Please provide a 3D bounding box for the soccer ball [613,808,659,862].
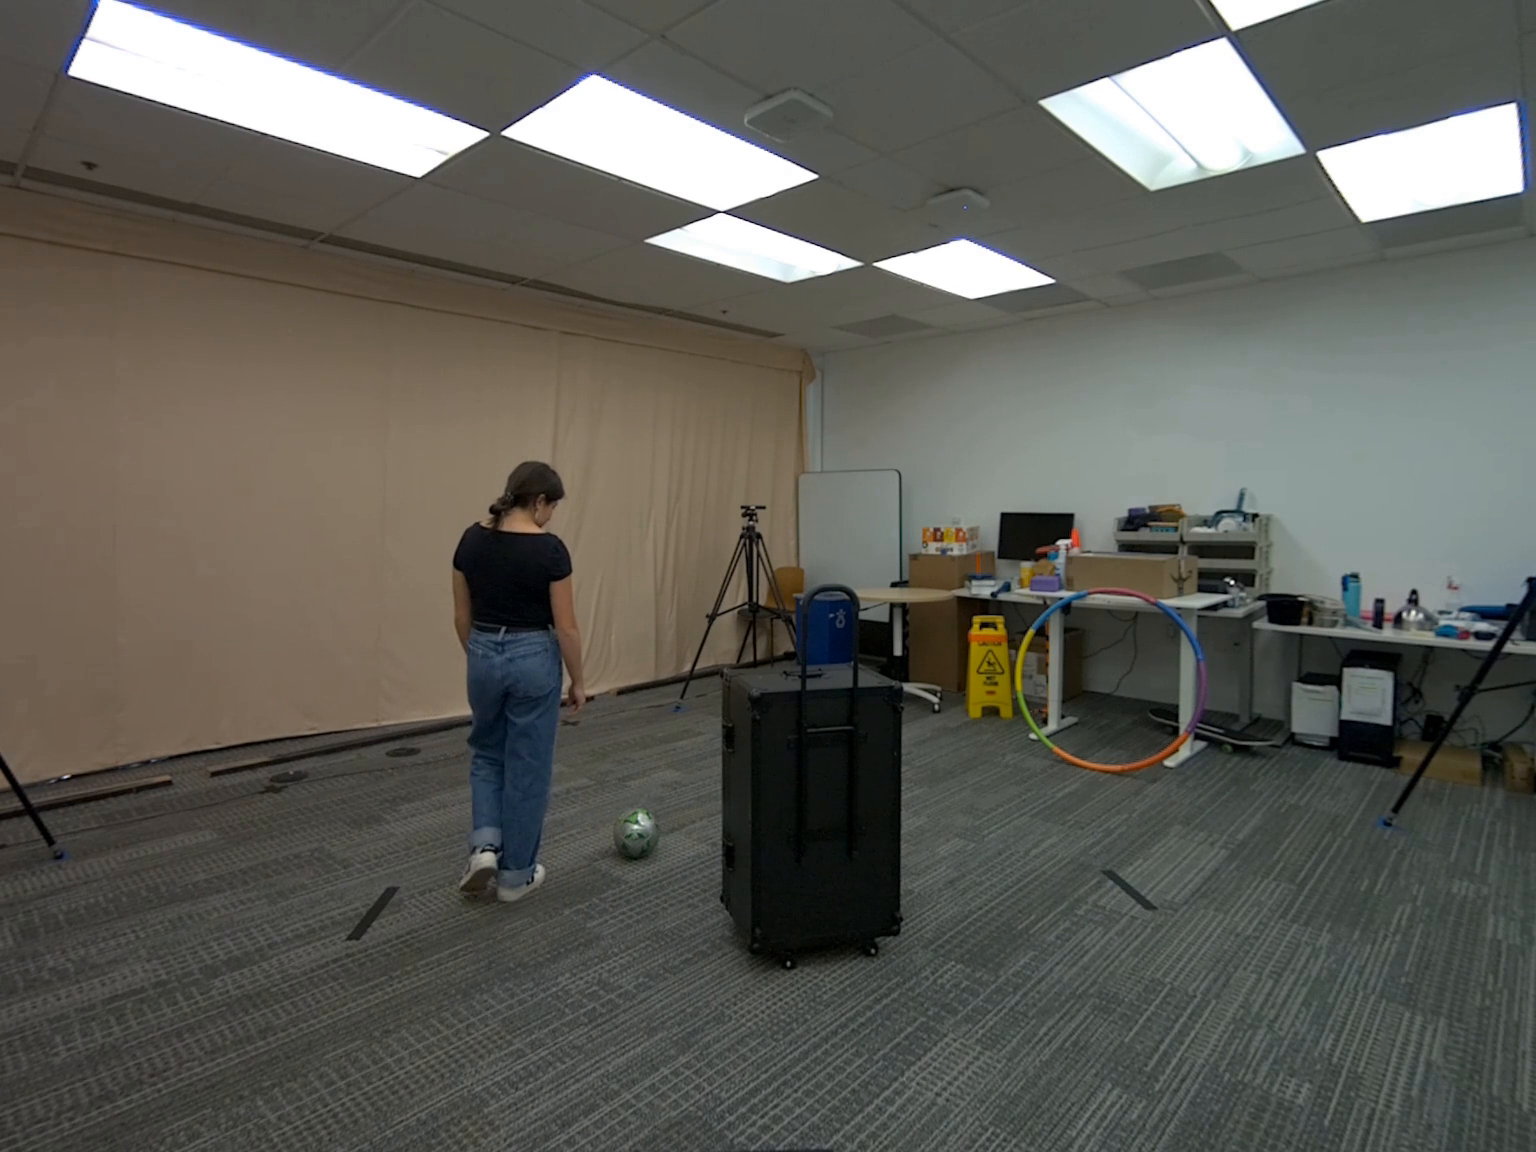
[{"bbox_3d":[-0.517,1.024,3.355,0.187,0.187,0.188,0,4,-2],"label":"soccer ball"}]
